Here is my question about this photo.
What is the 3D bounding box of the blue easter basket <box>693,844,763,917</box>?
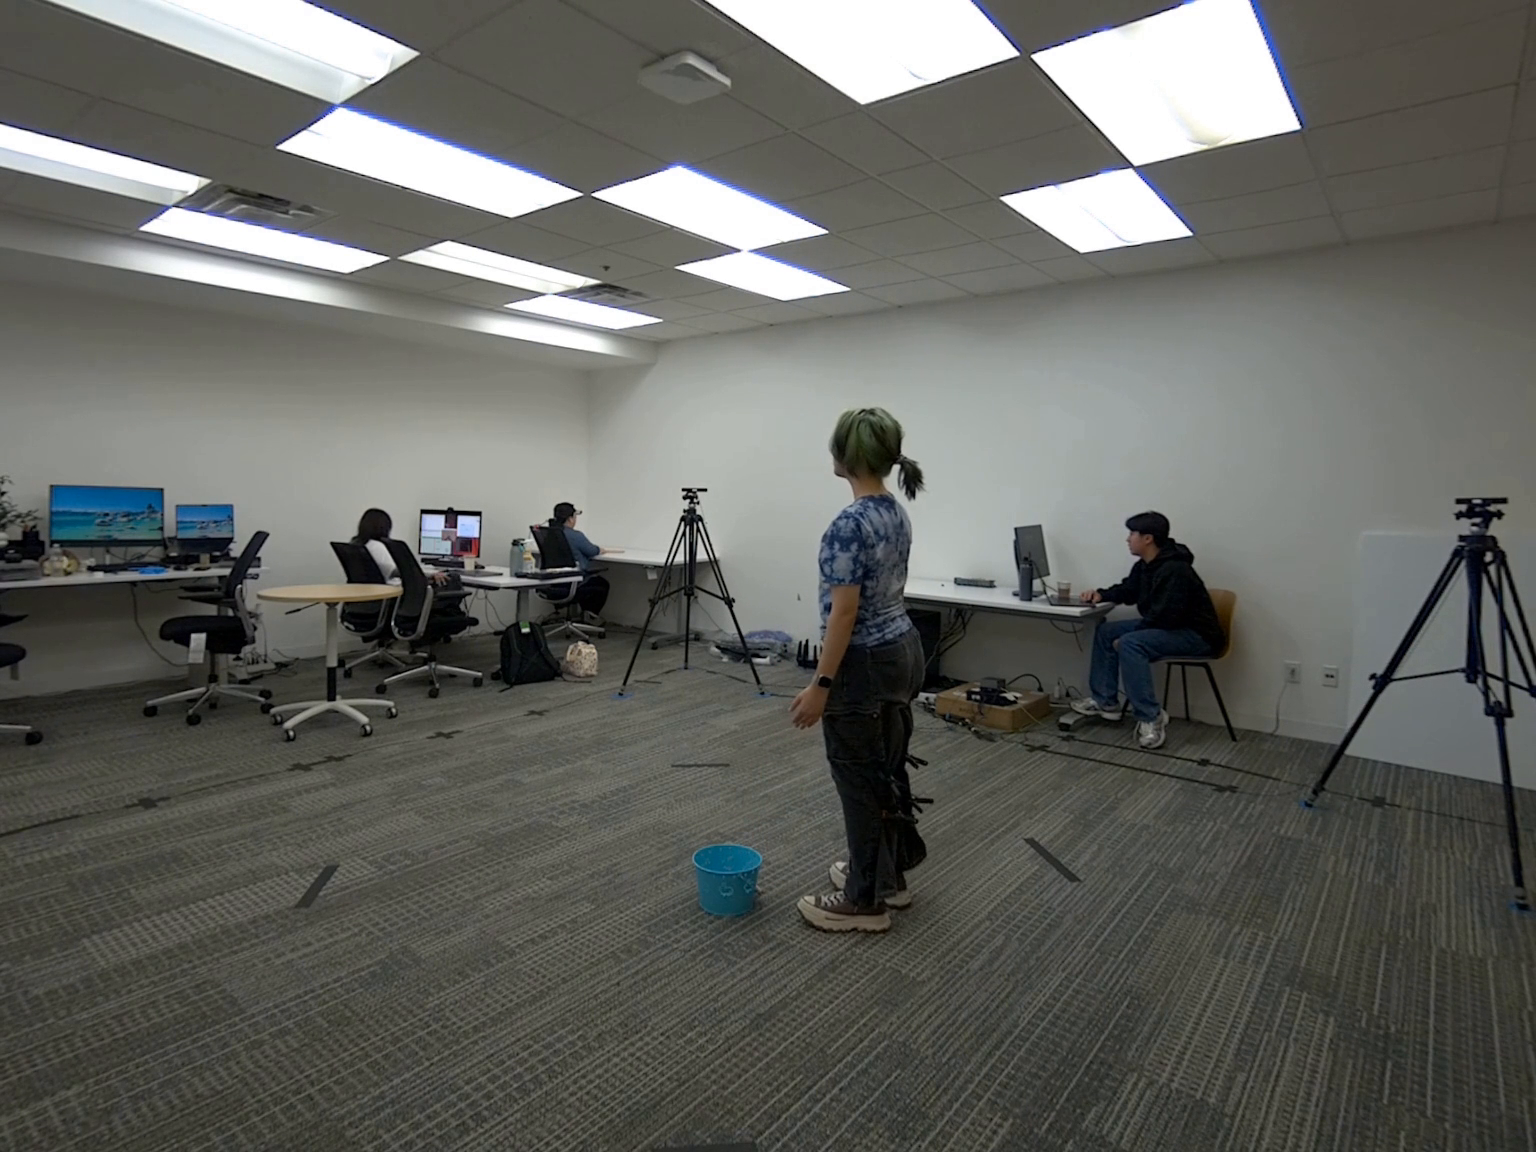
[{"bbox_3d":[-0.147,1.018,2.854,0.243,0.155,0.245,0,5,-2],"label":"blue easter basket"}]
